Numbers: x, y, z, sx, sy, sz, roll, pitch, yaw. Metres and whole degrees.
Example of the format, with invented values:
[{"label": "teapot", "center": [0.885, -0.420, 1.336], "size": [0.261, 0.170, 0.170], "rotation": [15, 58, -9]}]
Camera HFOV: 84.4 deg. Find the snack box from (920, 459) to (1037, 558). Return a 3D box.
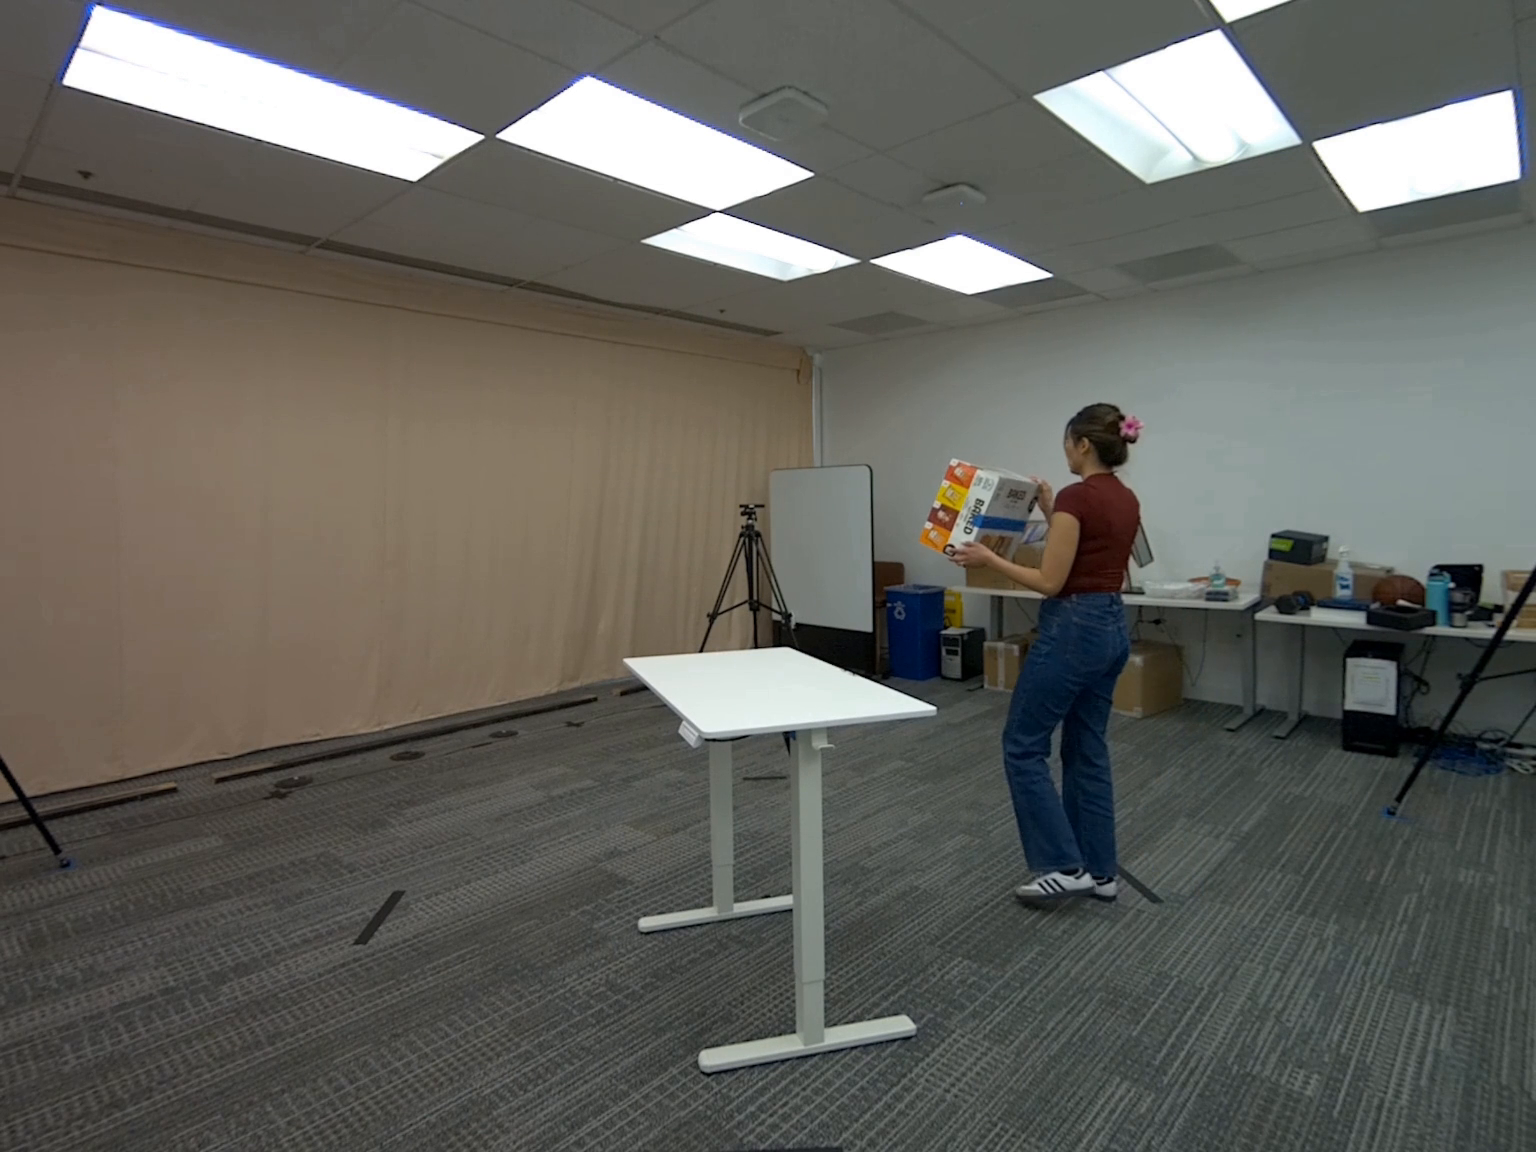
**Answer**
[{"label": "snack box", "center": [0.825, -0.239, 3.227], "size": [0.213, 0.339, 0.392], "rotation": [31, 19, 36]}]
